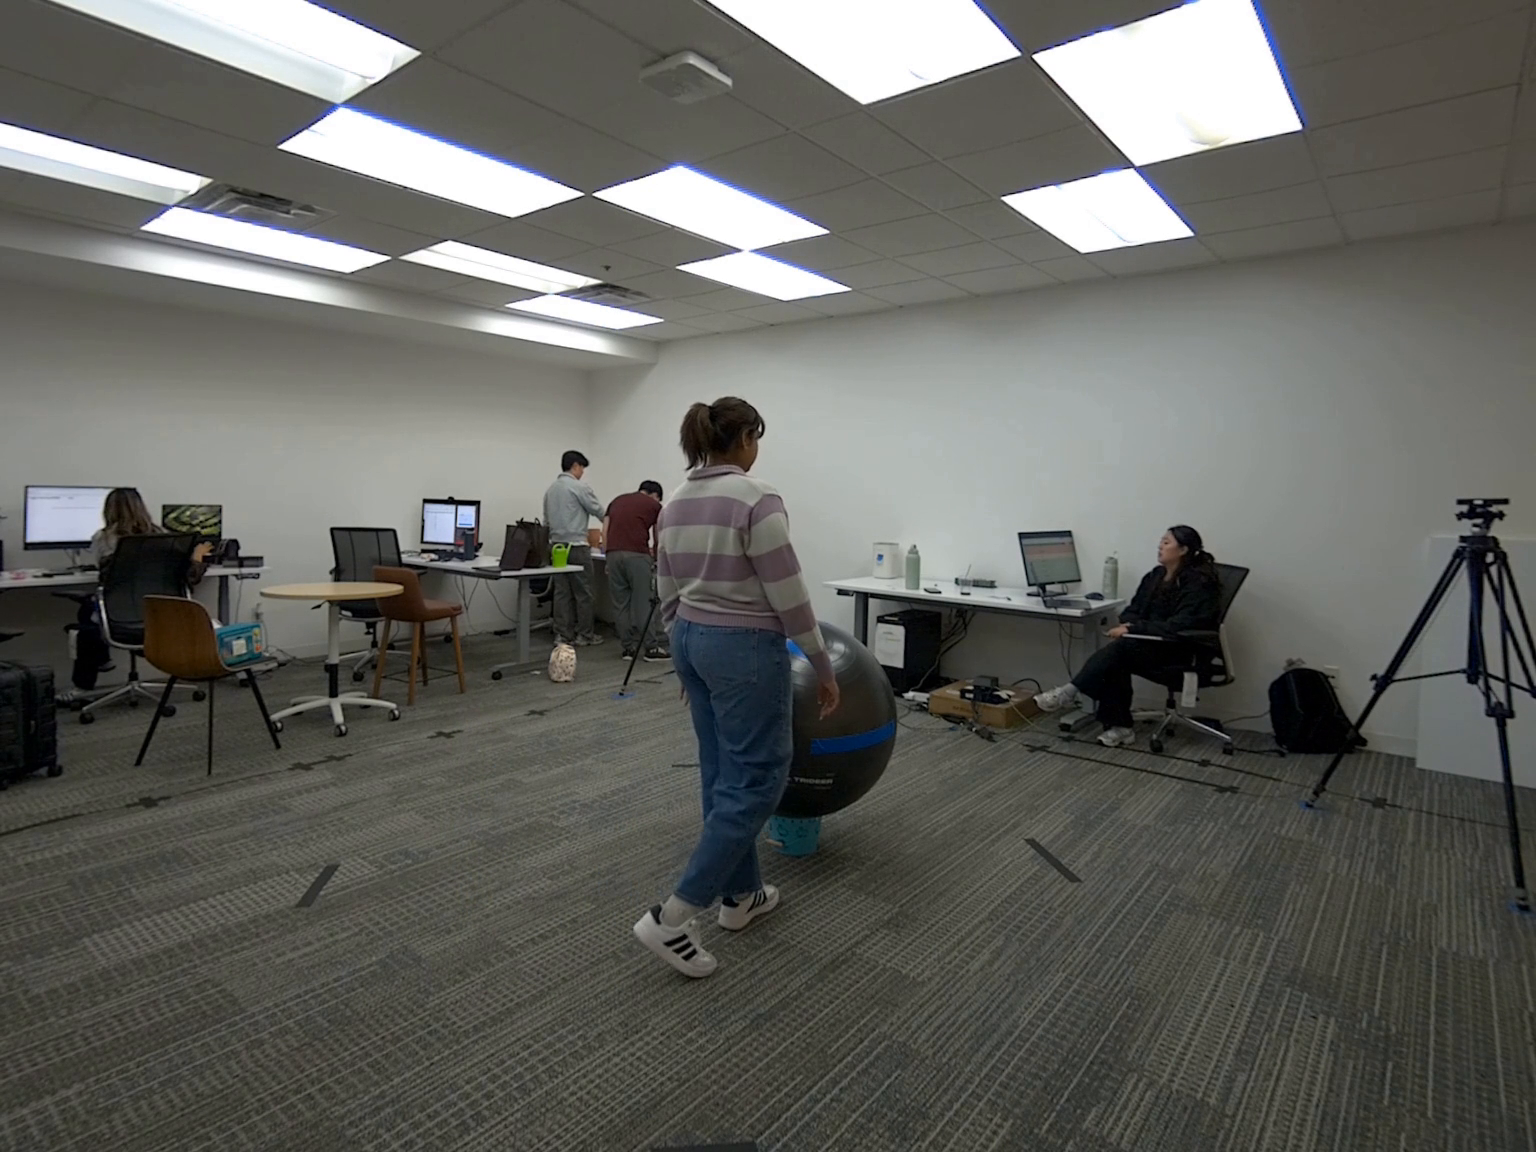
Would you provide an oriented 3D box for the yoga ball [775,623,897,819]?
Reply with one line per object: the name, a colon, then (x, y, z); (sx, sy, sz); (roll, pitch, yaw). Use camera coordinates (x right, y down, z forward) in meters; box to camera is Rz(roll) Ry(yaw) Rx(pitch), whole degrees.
yoga ball: (0.121, 0.550, 3.307); (0.757, 0.756, 0.762); (1, 4, -2)
